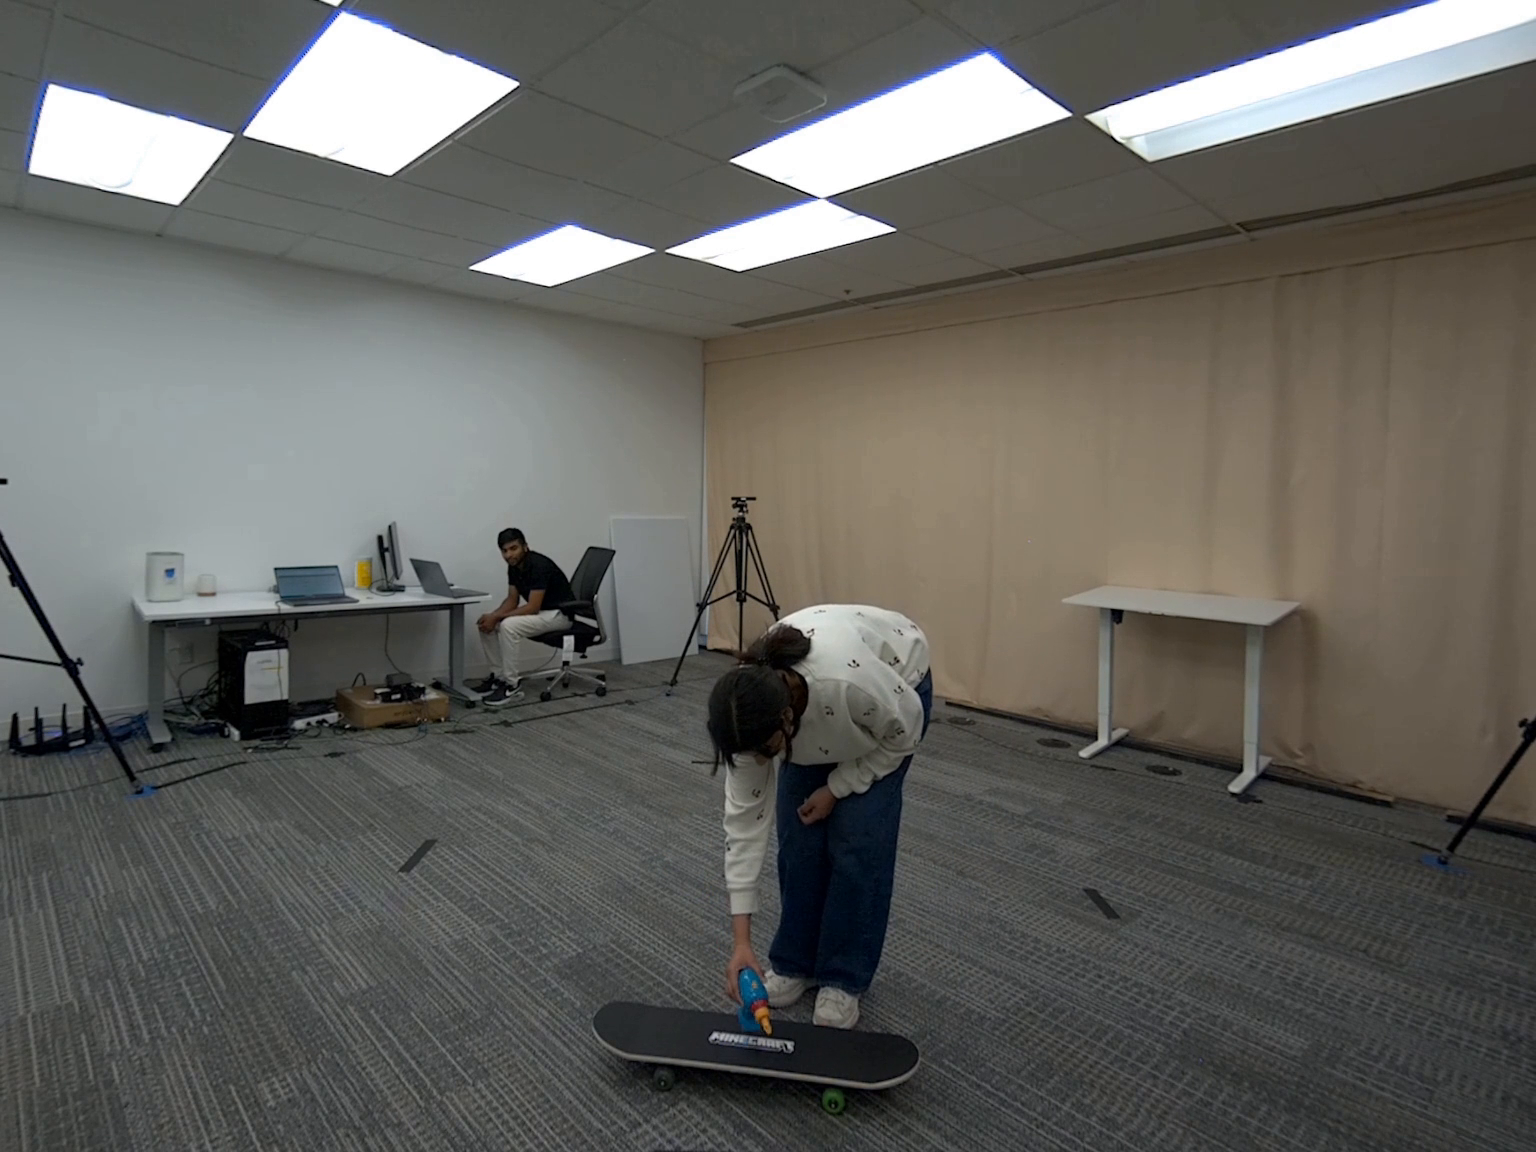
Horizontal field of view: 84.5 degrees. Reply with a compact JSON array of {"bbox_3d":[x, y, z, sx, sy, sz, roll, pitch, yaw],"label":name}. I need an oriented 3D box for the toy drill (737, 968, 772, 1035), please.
[{"bbox_3d":[-0.043,1.037,1.967,0.060,0.143,0.174,-9,26,-16],"label":"toy drill"}]
